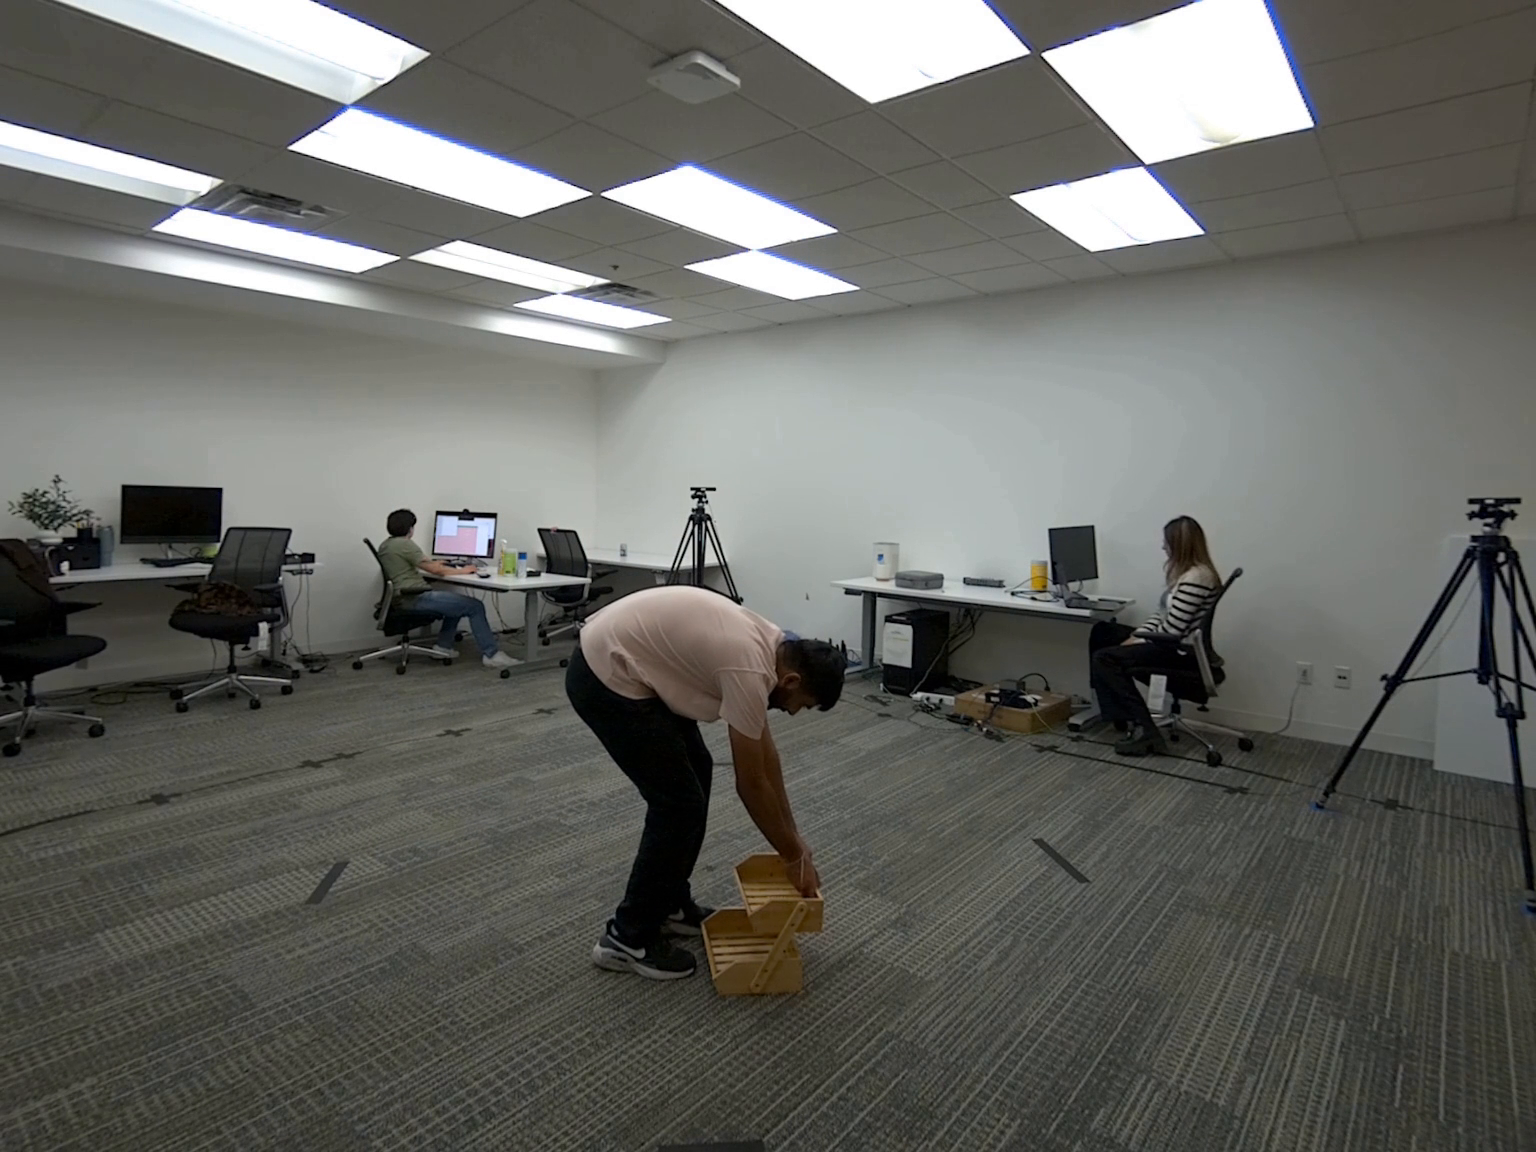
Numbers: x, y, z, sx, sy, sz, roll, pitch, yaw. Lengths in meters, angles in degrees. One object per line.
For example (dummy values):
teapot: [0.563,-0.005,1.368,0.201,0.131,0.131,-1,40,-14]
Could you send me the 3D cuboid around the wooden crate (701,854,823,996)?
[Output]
wooden crate: [-0.036,0.999,2.477,0.299,0.272,0.329,3,5,-11]
